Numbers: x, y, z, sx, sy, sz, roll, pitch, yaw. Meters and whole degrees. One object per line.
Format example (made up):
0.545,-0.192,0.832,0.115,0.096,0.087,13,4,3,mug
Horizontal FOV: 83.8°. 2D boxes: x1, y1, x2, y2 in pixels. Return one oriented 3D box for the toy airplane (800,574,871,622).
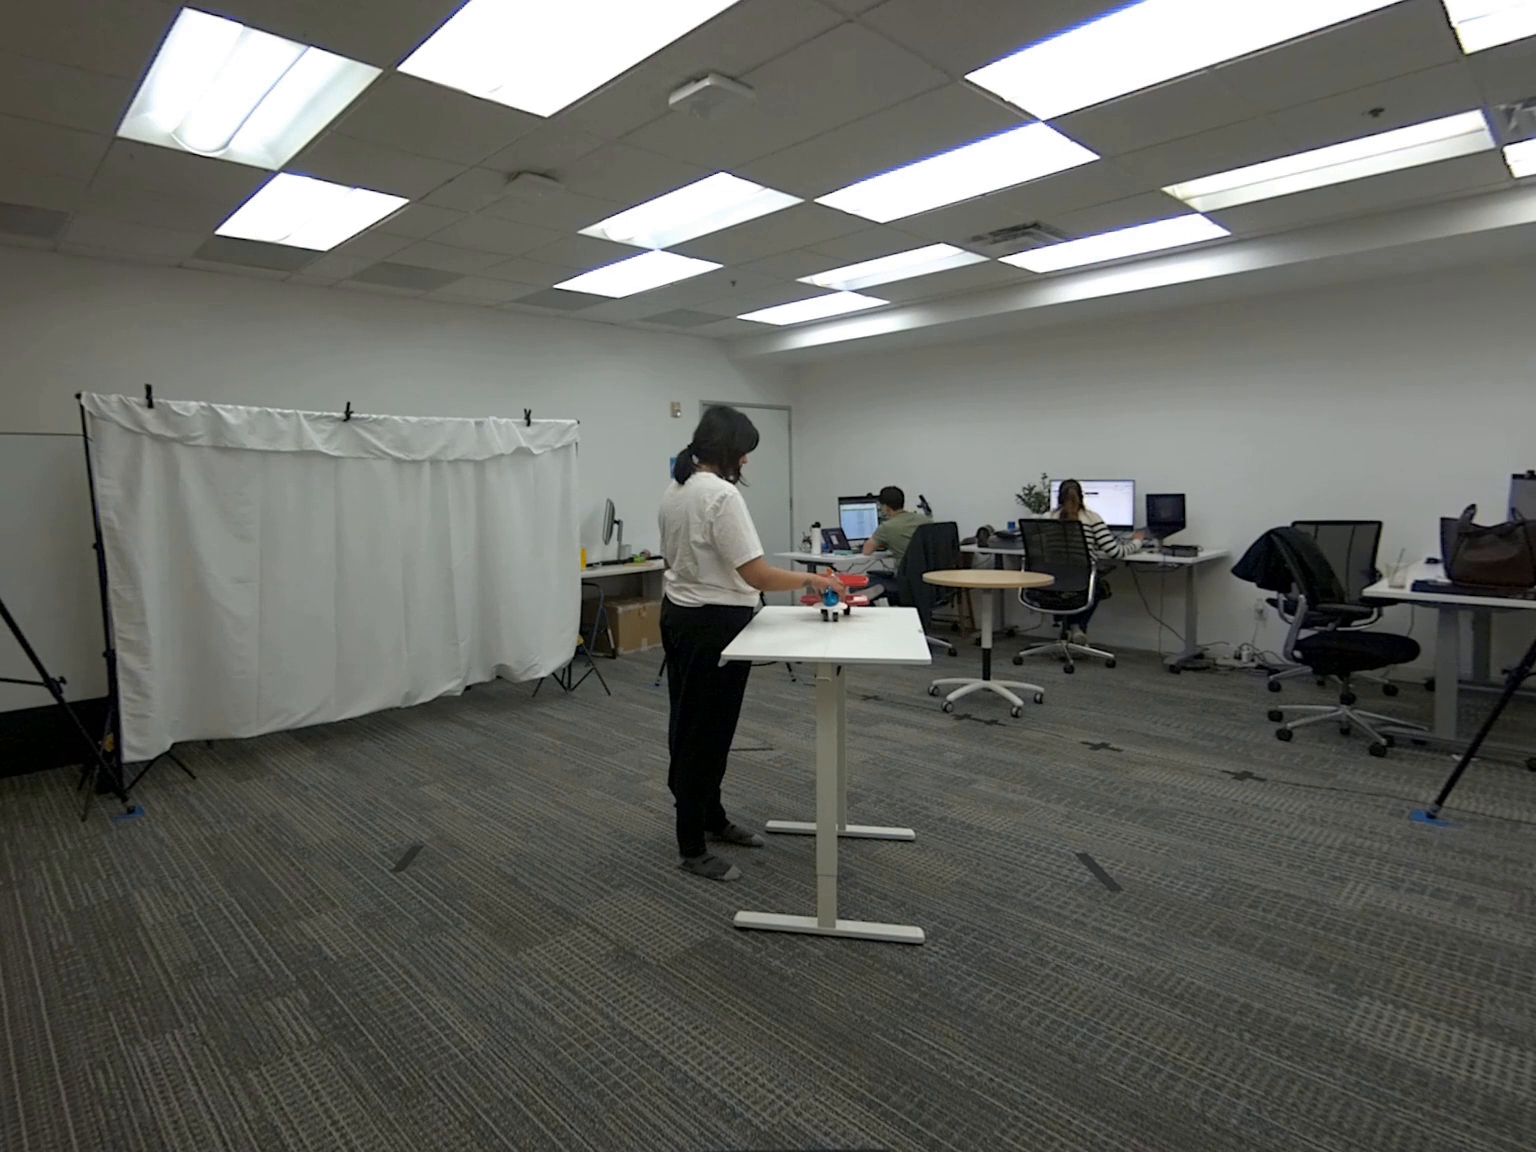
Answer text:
0.261,0.078,3.160,0.247,0.156,0.264,-2,5,-16,toy airplane
